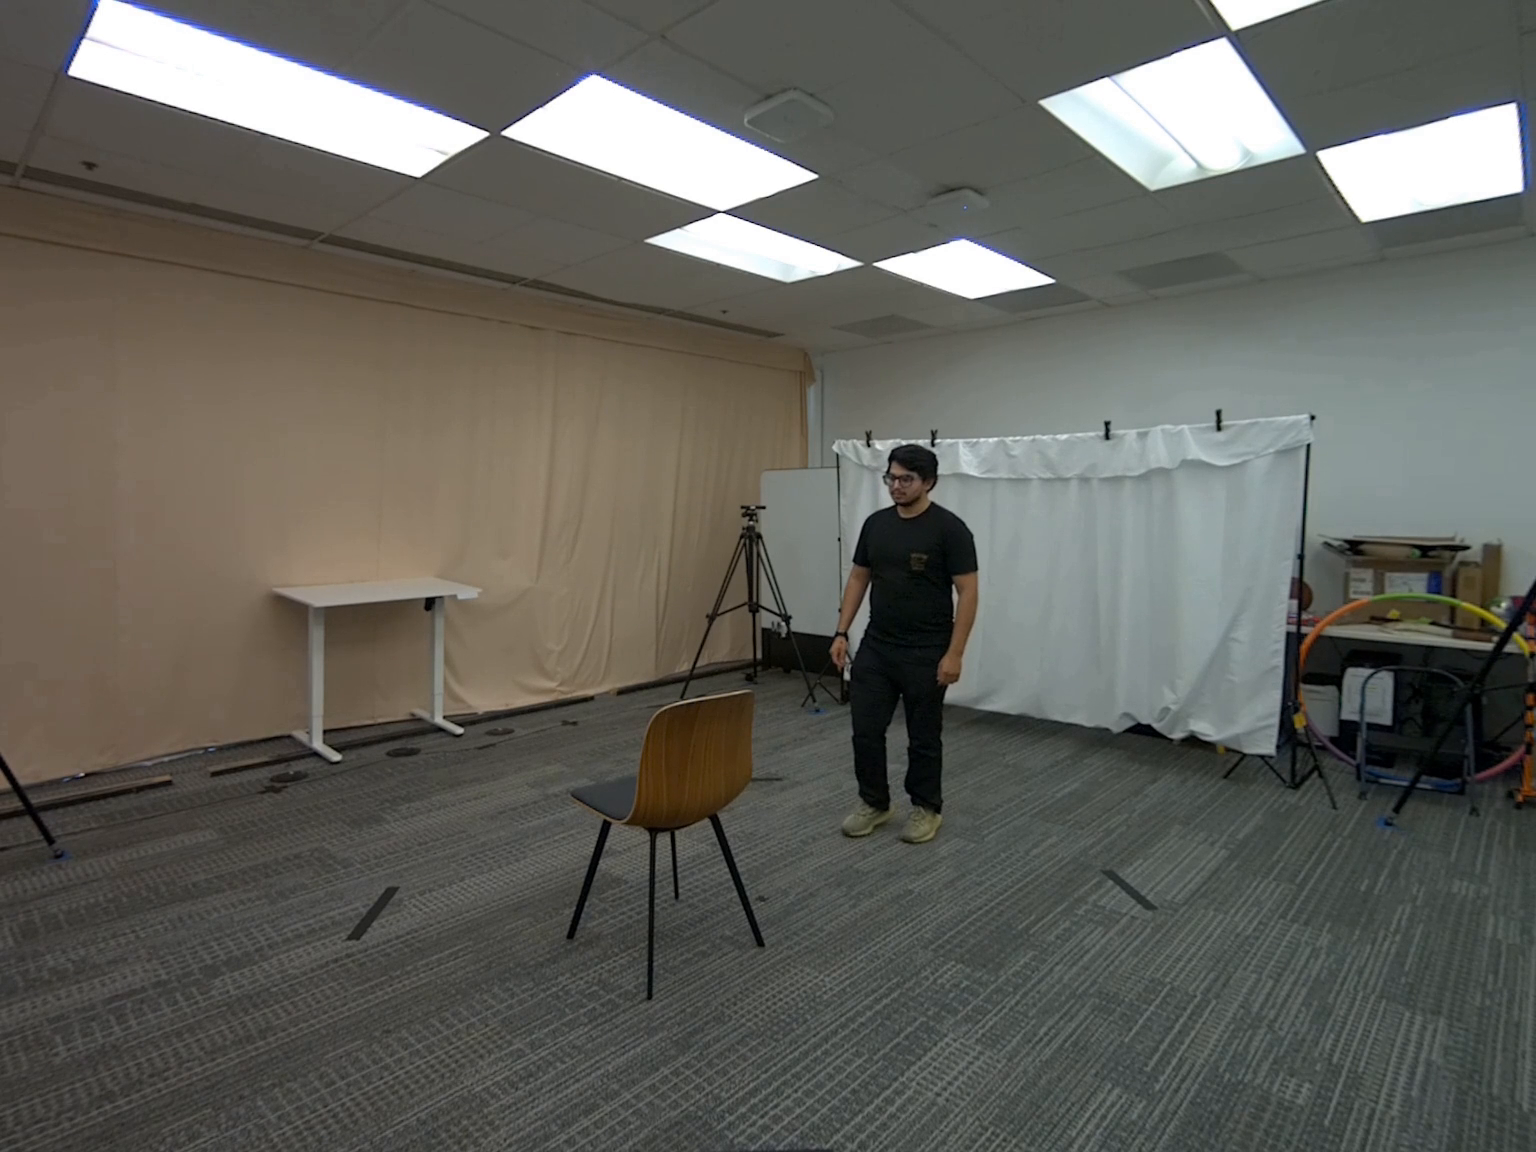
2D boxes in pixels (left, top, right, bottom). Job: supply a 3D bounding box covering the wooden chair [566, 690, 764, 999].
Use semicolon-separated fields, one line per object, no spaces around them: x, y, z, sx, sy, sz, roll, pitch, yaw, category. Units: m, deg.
-0.335;0.744;2.665;0.463;0.874;0.541;-3;9;-42;wooden chair
